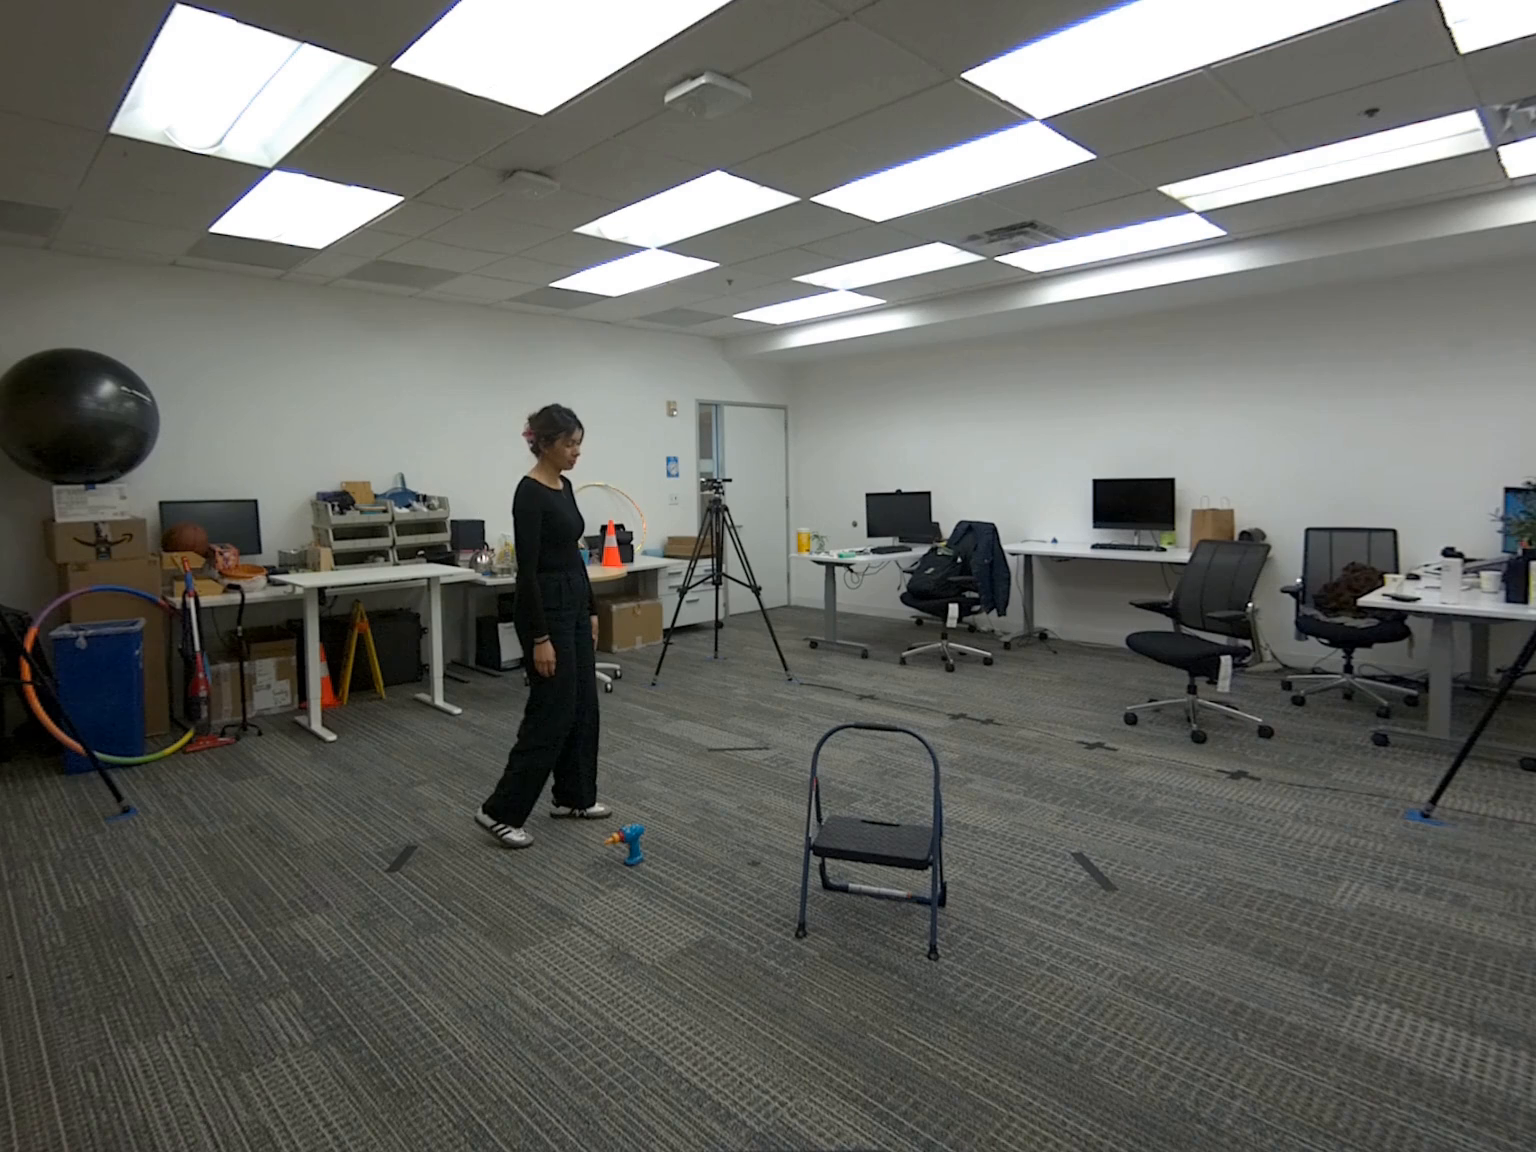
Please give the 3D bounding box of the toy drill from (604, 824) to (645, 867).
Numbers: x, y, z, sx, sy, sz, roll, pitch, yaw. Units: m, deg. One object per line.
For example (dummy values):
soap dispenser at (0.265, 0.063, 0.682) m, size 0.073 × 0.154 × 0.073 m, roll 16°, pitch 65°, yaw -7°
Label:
toy drill at (-0.516, 0.979, 3.101) m, size 0.165 × 0.145 × 0.063 m, roll -6°, pitch 7°, yaw -43°
